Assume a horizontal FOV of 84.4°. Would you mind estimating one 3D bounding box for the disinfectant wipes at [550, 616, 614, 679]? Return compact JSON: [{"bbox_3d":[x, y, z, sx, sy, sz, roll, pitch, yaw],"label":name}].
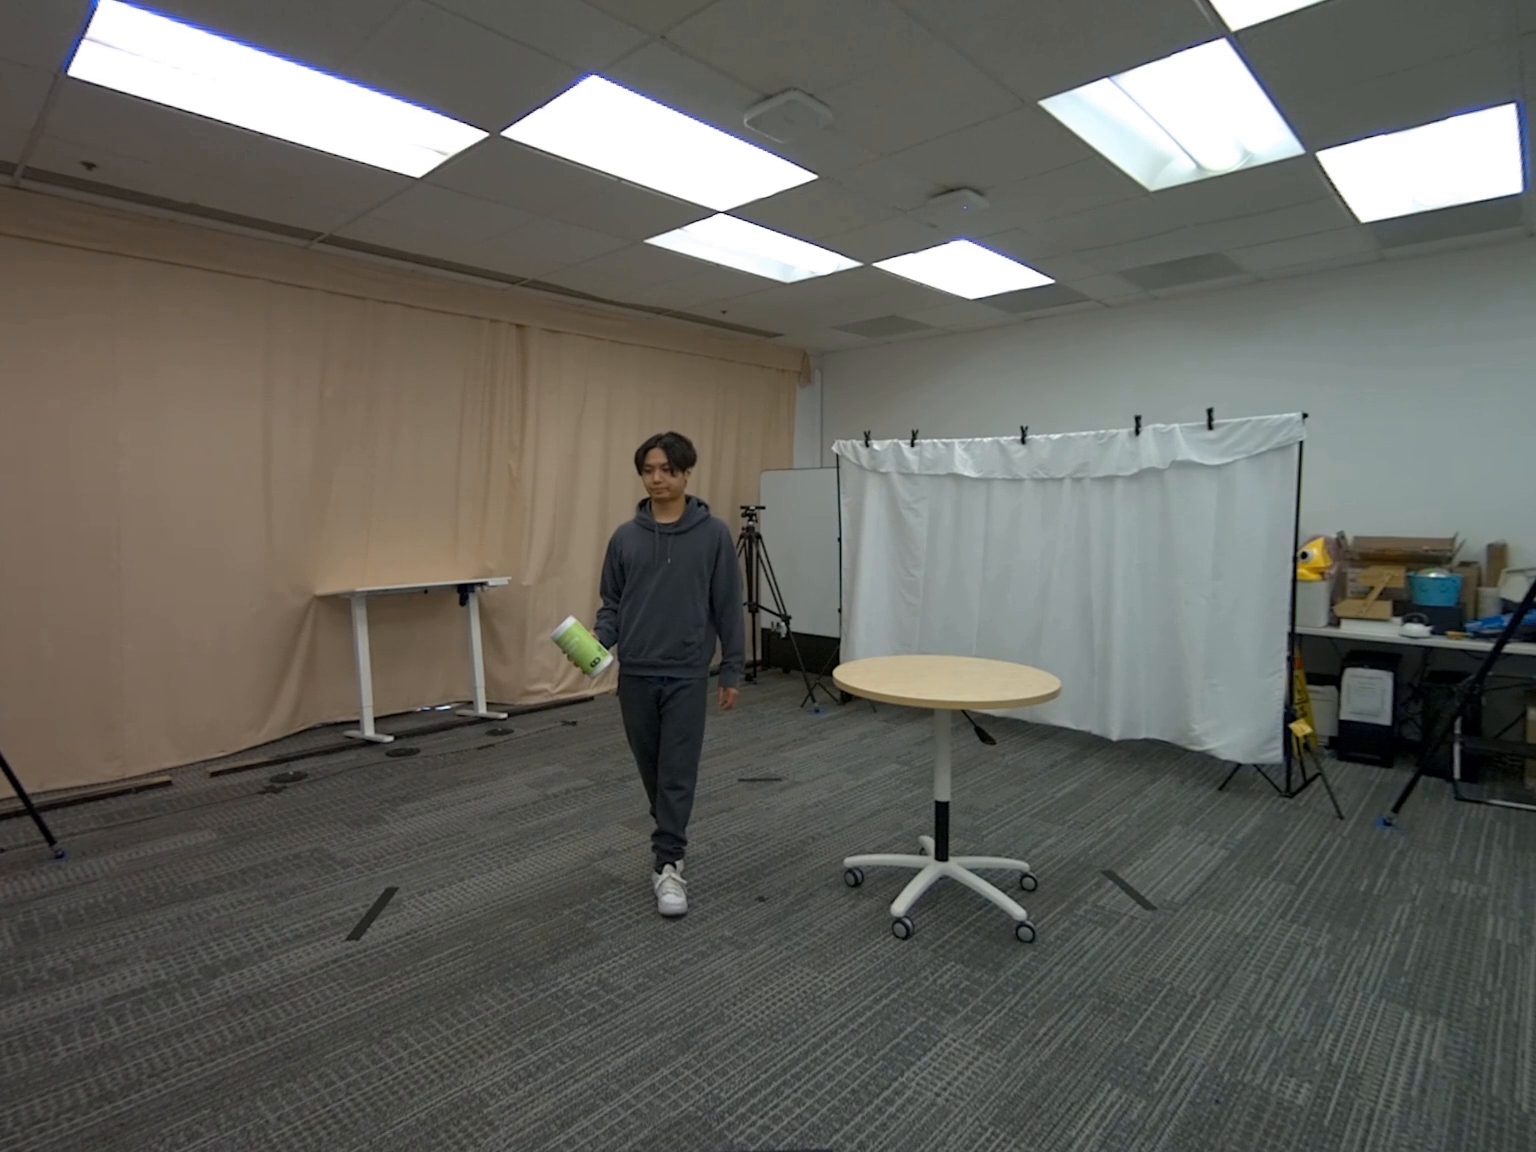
[{"bbox_3d":[-0.638,0.243,2.927,0.118,0.216,0.118,-44,4,2],"label":"disinfectant wipes"}]
